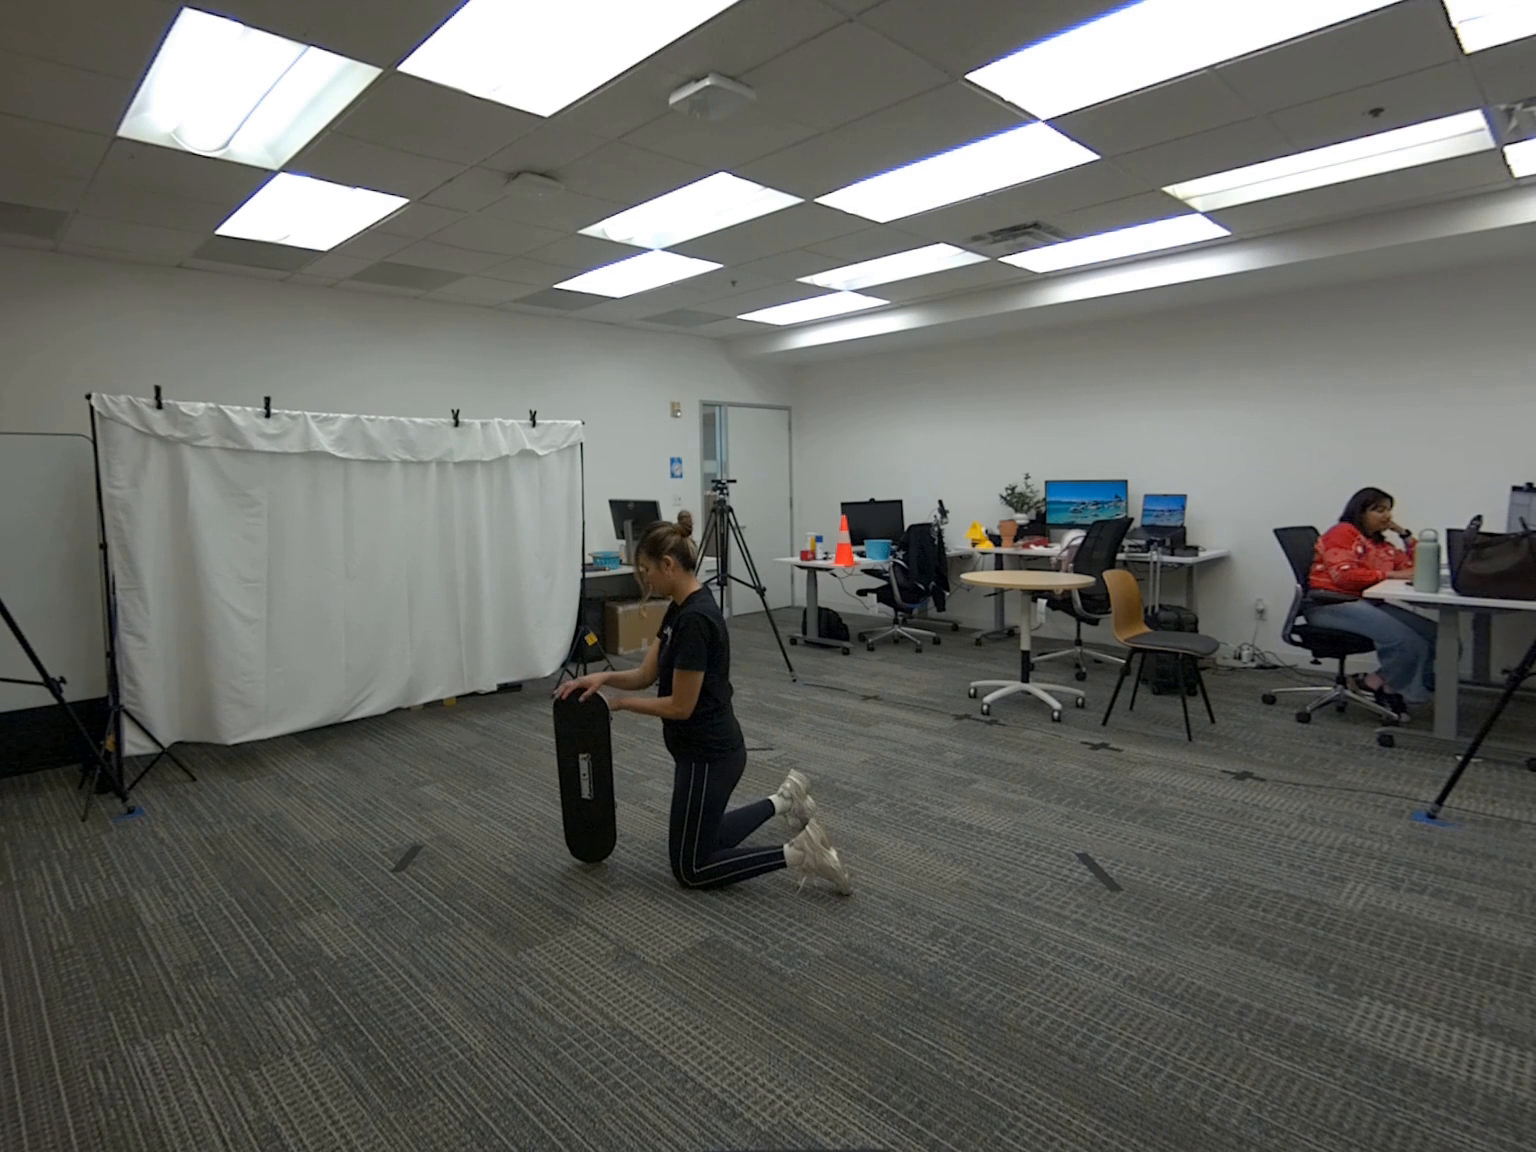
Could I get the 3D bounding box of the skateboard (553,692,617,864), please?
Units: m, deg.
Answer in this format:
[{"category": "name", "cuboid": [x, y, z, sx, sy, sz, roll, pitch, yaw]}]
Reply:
[{"category": "skateboard", "cuboid": [-0.633, 0.683, 3.013, 0.193, 0.769, 0.113, 2, 27, -3]}]
